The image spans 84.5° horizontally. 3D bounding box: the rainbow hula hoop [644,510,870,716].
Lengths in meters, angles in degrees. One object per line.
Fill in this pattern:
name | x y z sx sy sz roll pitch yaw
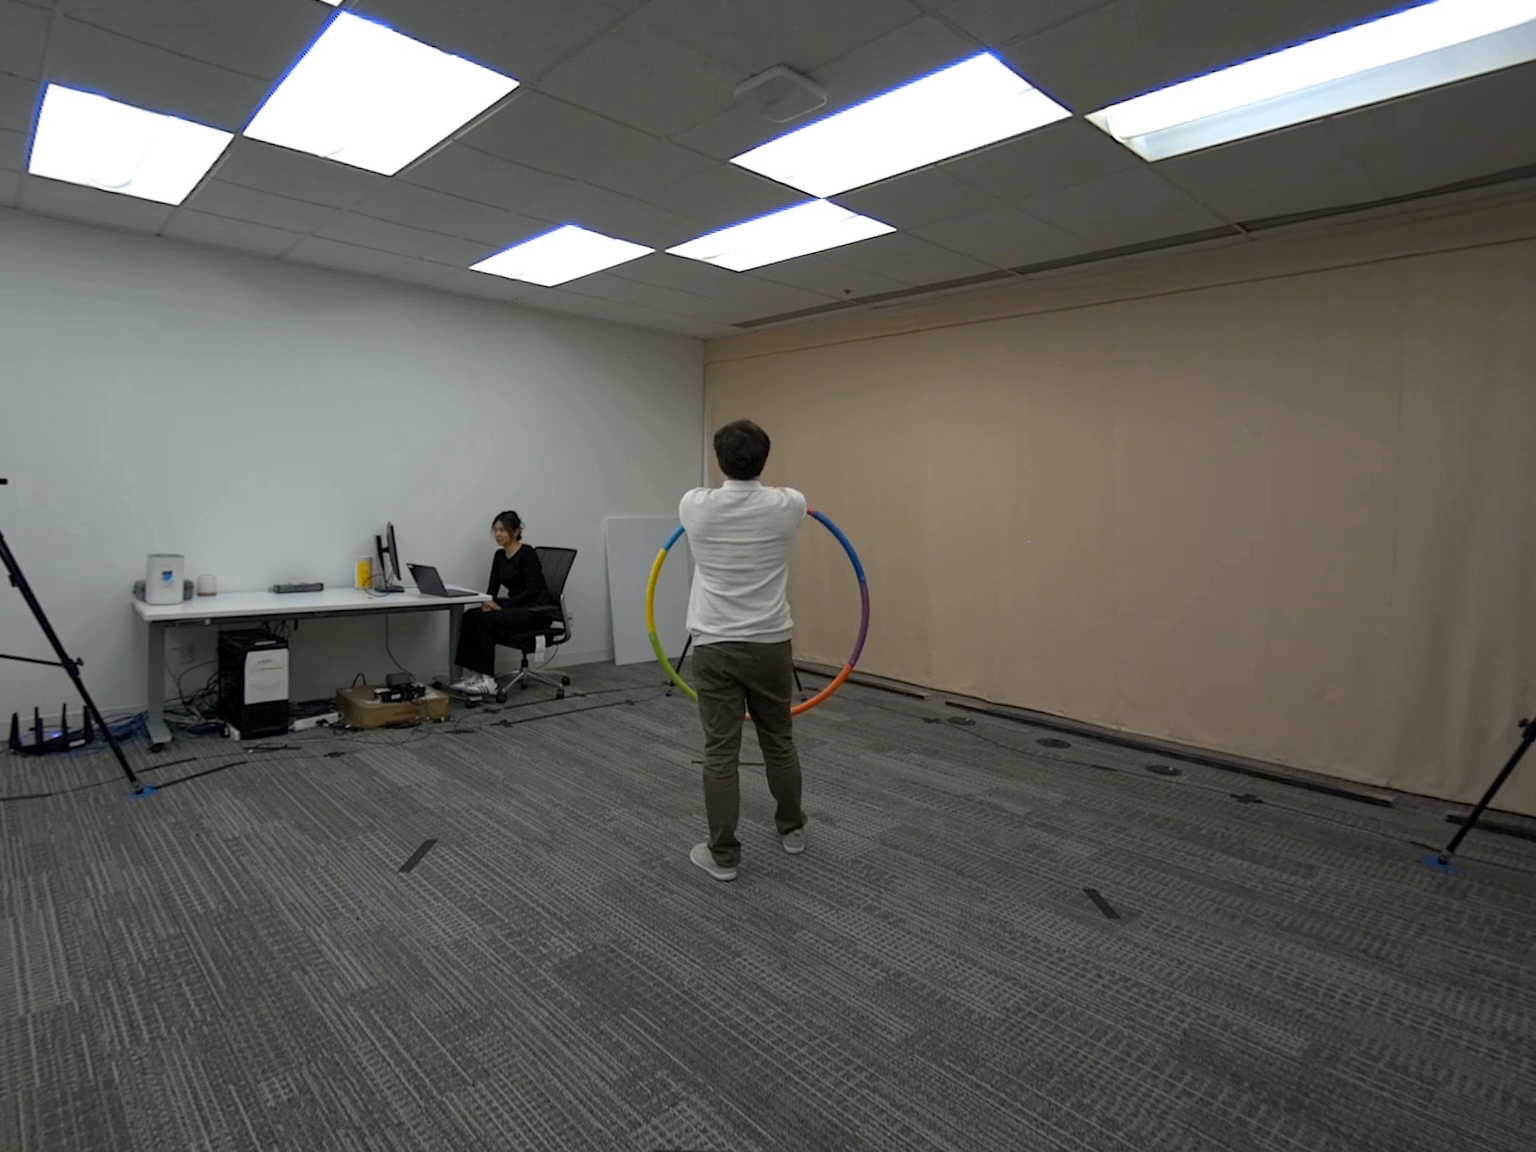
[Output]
rainbow hula hoop | -0.053 0.134 3.679 0.980 0.980 0.035 1 -2 3
